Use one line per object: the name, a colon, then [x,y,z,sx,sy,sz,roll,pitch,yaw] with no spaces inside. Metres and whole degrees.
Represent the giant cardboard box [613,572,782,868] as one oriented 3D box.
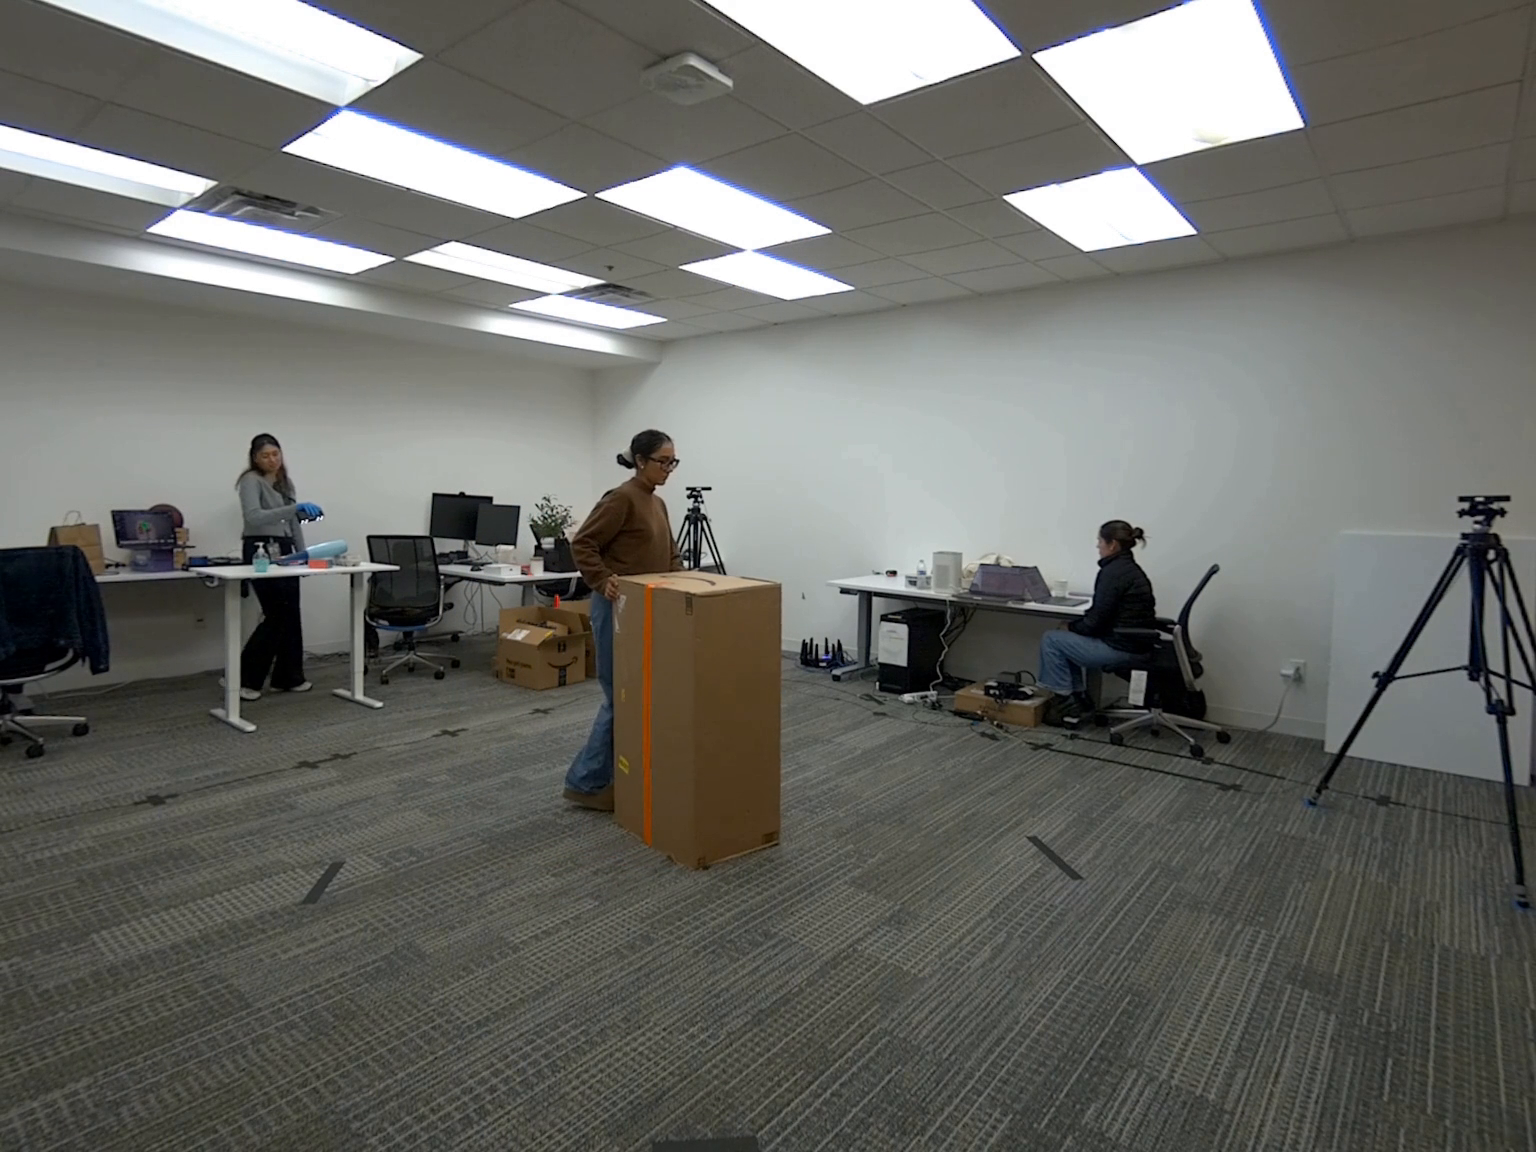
giant cardboard box: [-0.301,0.525,3.390,0.414,1.022,0.597,-3,5,-39]
